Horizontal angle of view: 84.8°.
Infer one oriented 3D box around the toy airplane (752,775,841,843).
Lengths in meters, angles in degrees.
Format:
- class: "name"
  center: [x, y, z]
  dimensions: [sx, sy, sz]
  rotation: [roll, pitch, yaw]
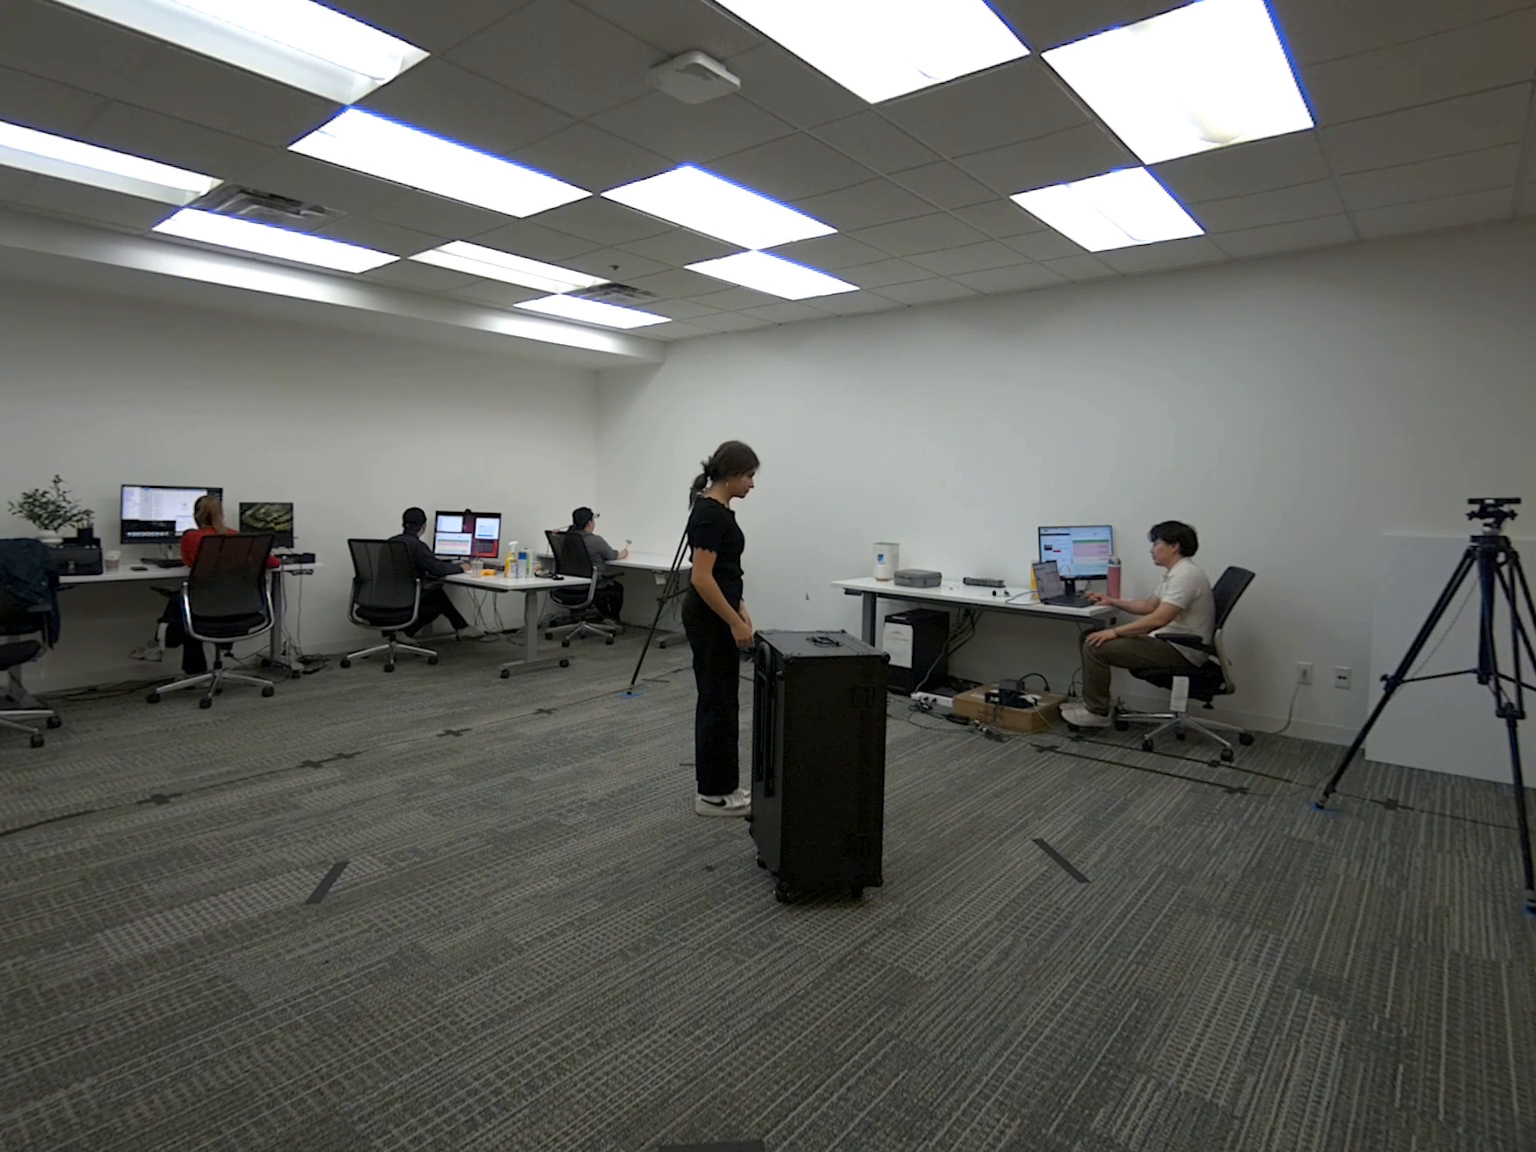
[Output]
- class: "toy airplane"
  center: [0.115, 0.957, 3.487]
  dimensions: [0.251, 0.156, 0.259]
  rotation: [-1, 5, -38]
